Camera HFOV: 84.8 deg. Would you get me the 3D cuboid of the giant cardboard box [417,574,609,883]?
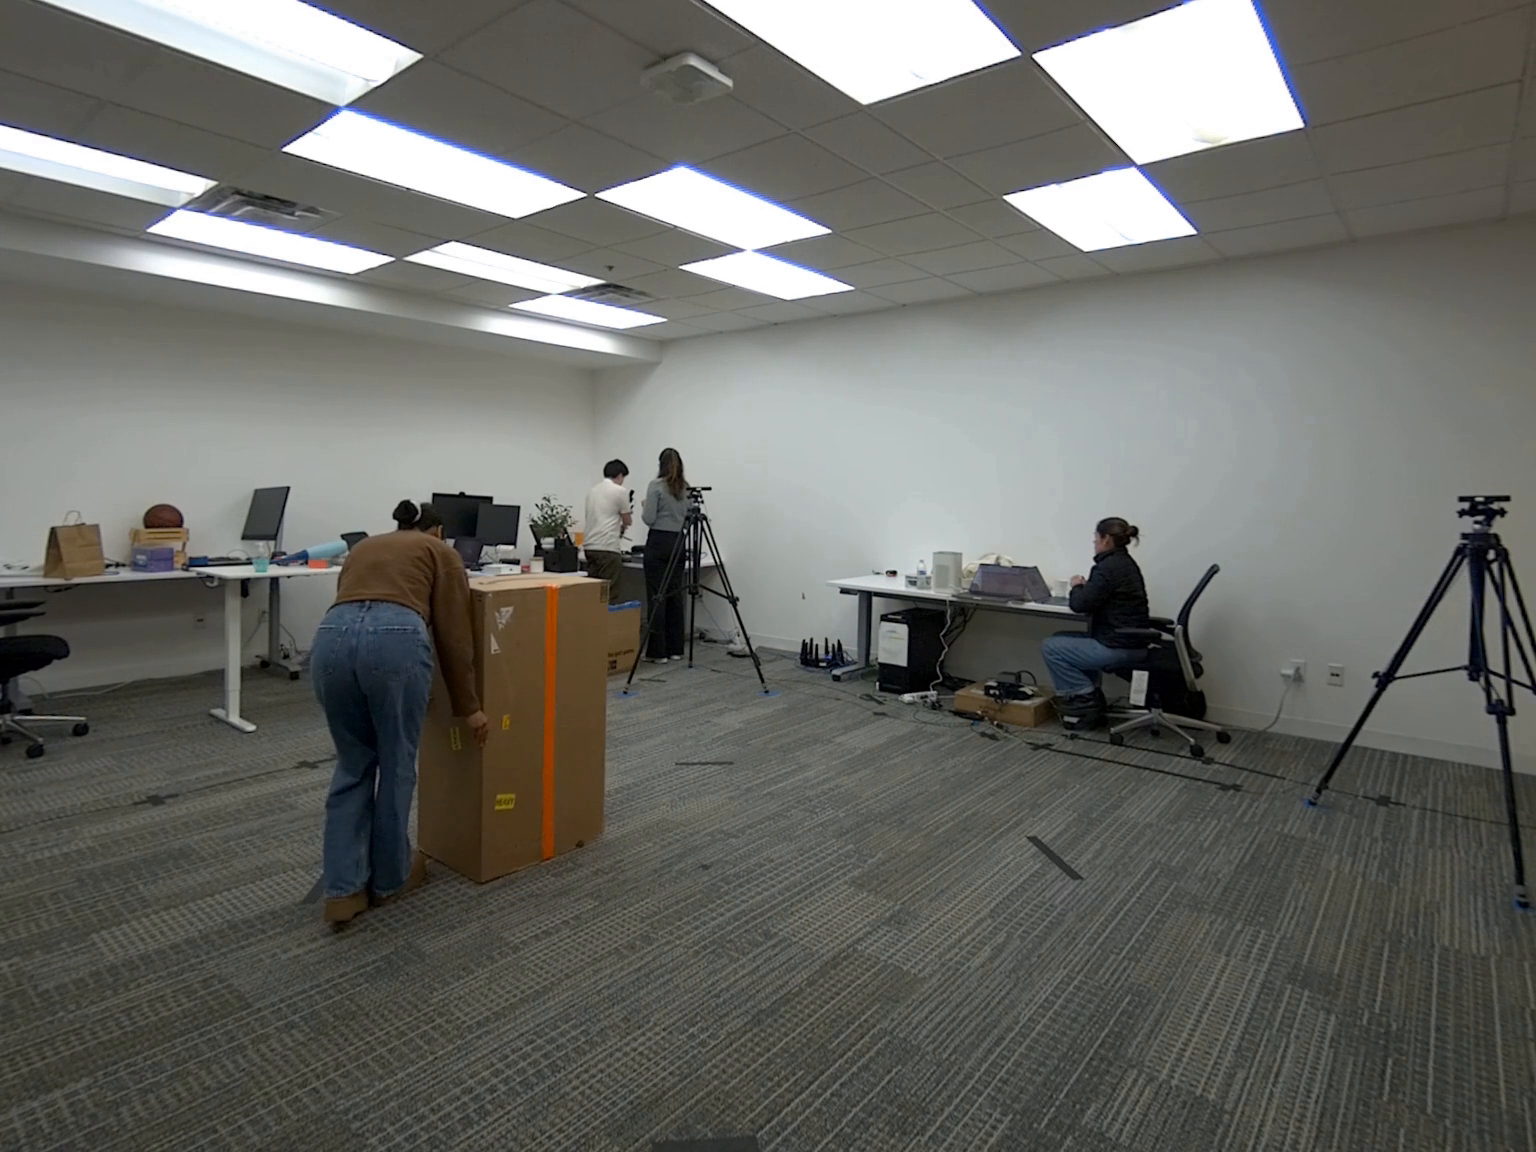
[{"bbox_3d":[-0.987,0.528,3.283,0.440,1.023,0.560,4,4,38],"label":"giant cardboard box"}]
